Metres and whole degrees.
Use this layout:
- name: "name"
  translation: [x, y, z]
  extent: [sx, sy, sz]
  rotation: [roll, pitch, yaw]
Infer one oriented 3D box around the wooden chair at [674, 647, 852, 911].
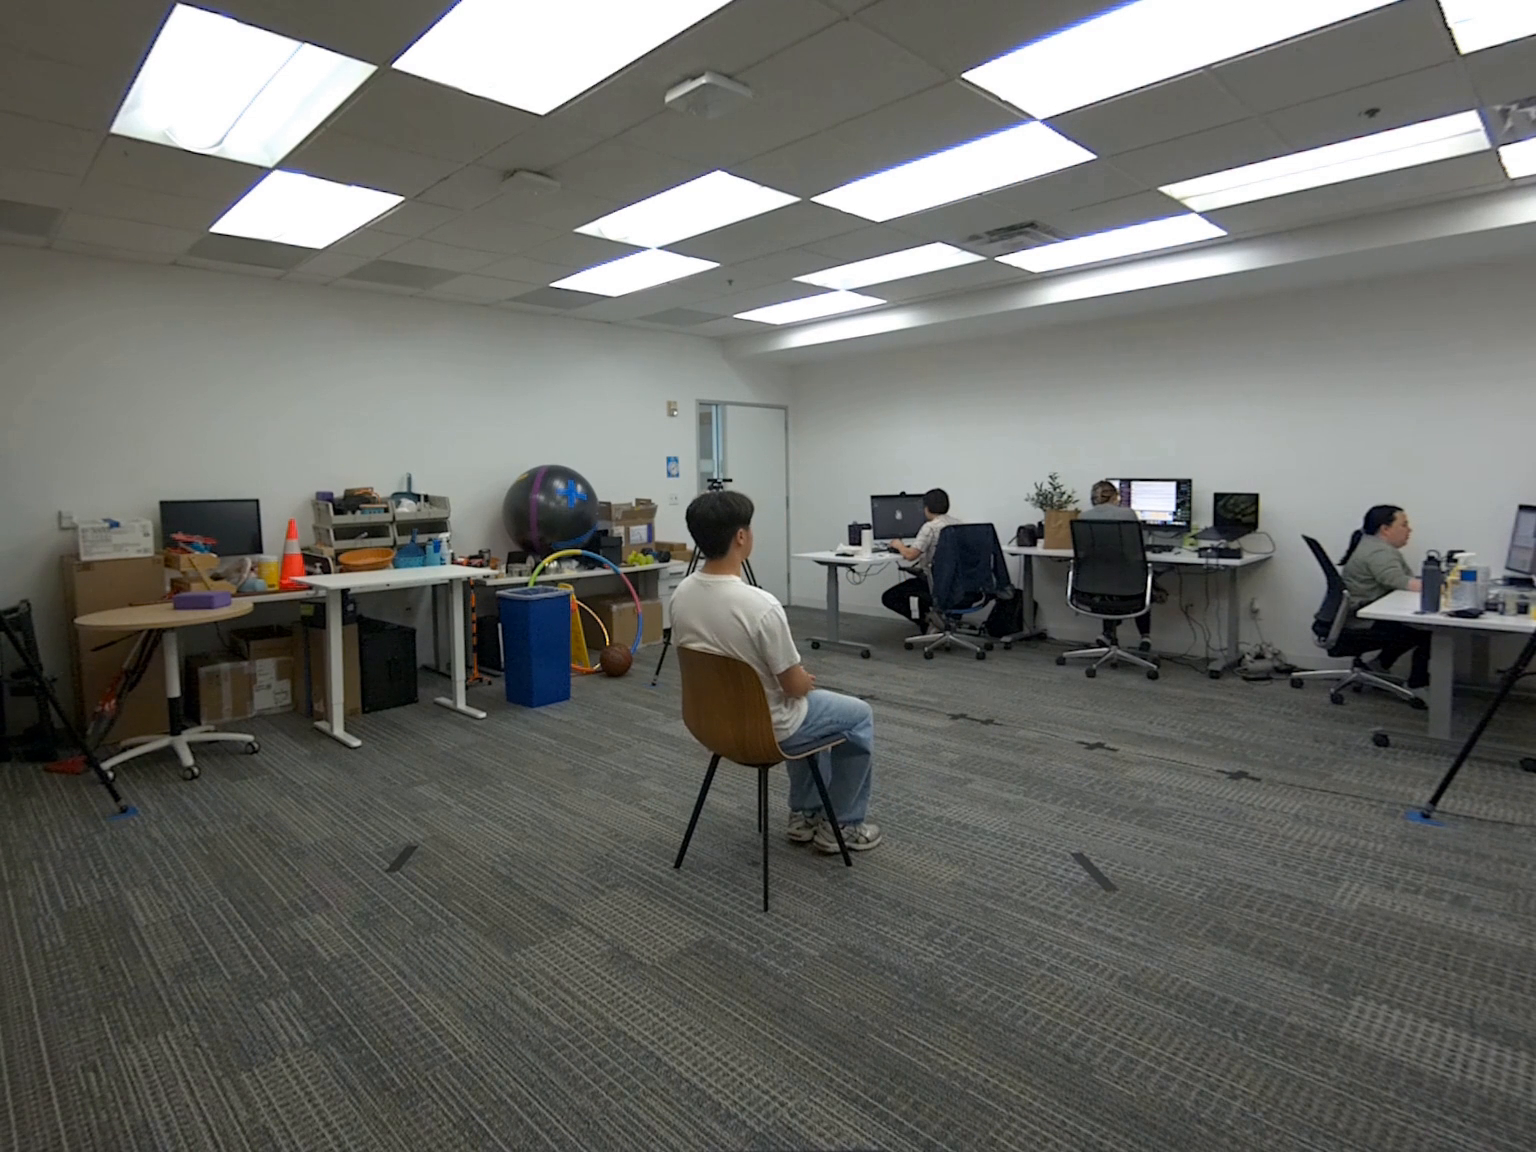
- name: "wooden chair"
  translation: [-0.023, 0.625, 3.038]
  extent: [0.493, 0.870, 0.511]
  rotation: [4, 12, 44]
